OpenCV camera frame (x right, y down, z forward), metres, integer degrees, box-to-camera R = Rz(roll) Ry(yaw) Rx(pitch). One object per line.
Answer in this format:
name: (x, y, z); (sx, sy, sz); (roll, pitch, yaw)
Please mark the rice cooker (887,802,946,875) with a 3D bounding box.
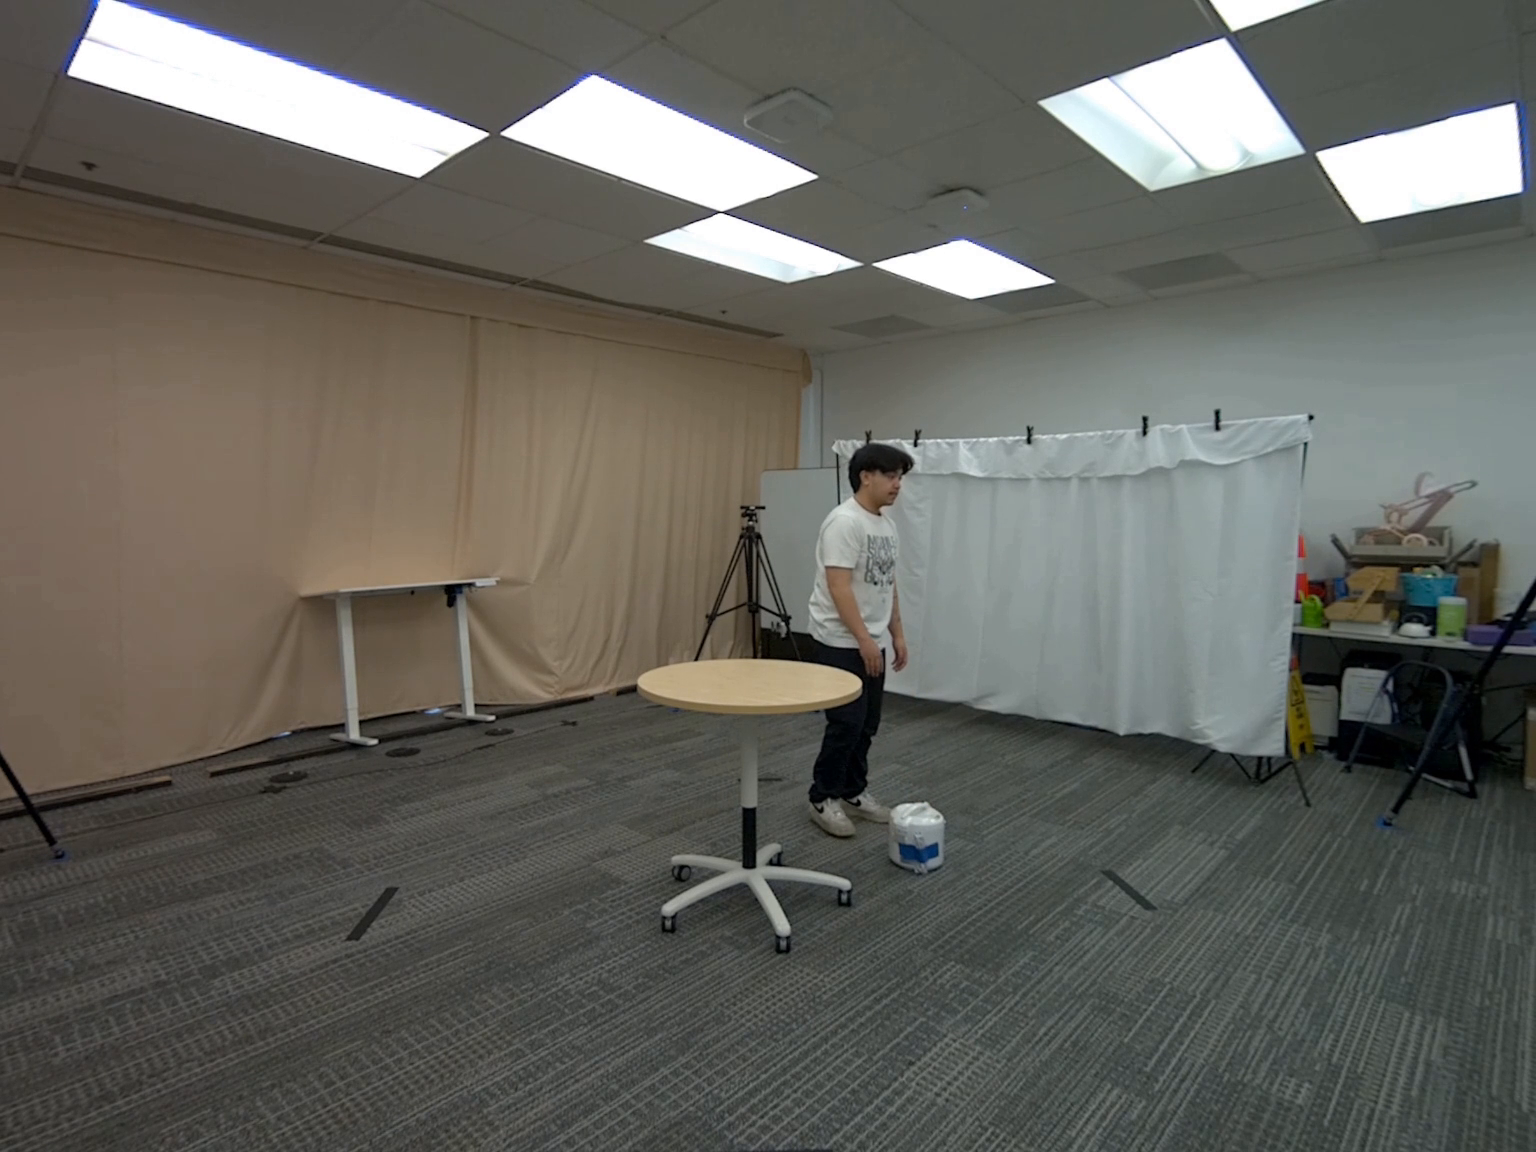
rice cooker: (0.572, 0.998, 3.283); (0.214, 0.232, 0.225); (-3, 6, -42)
